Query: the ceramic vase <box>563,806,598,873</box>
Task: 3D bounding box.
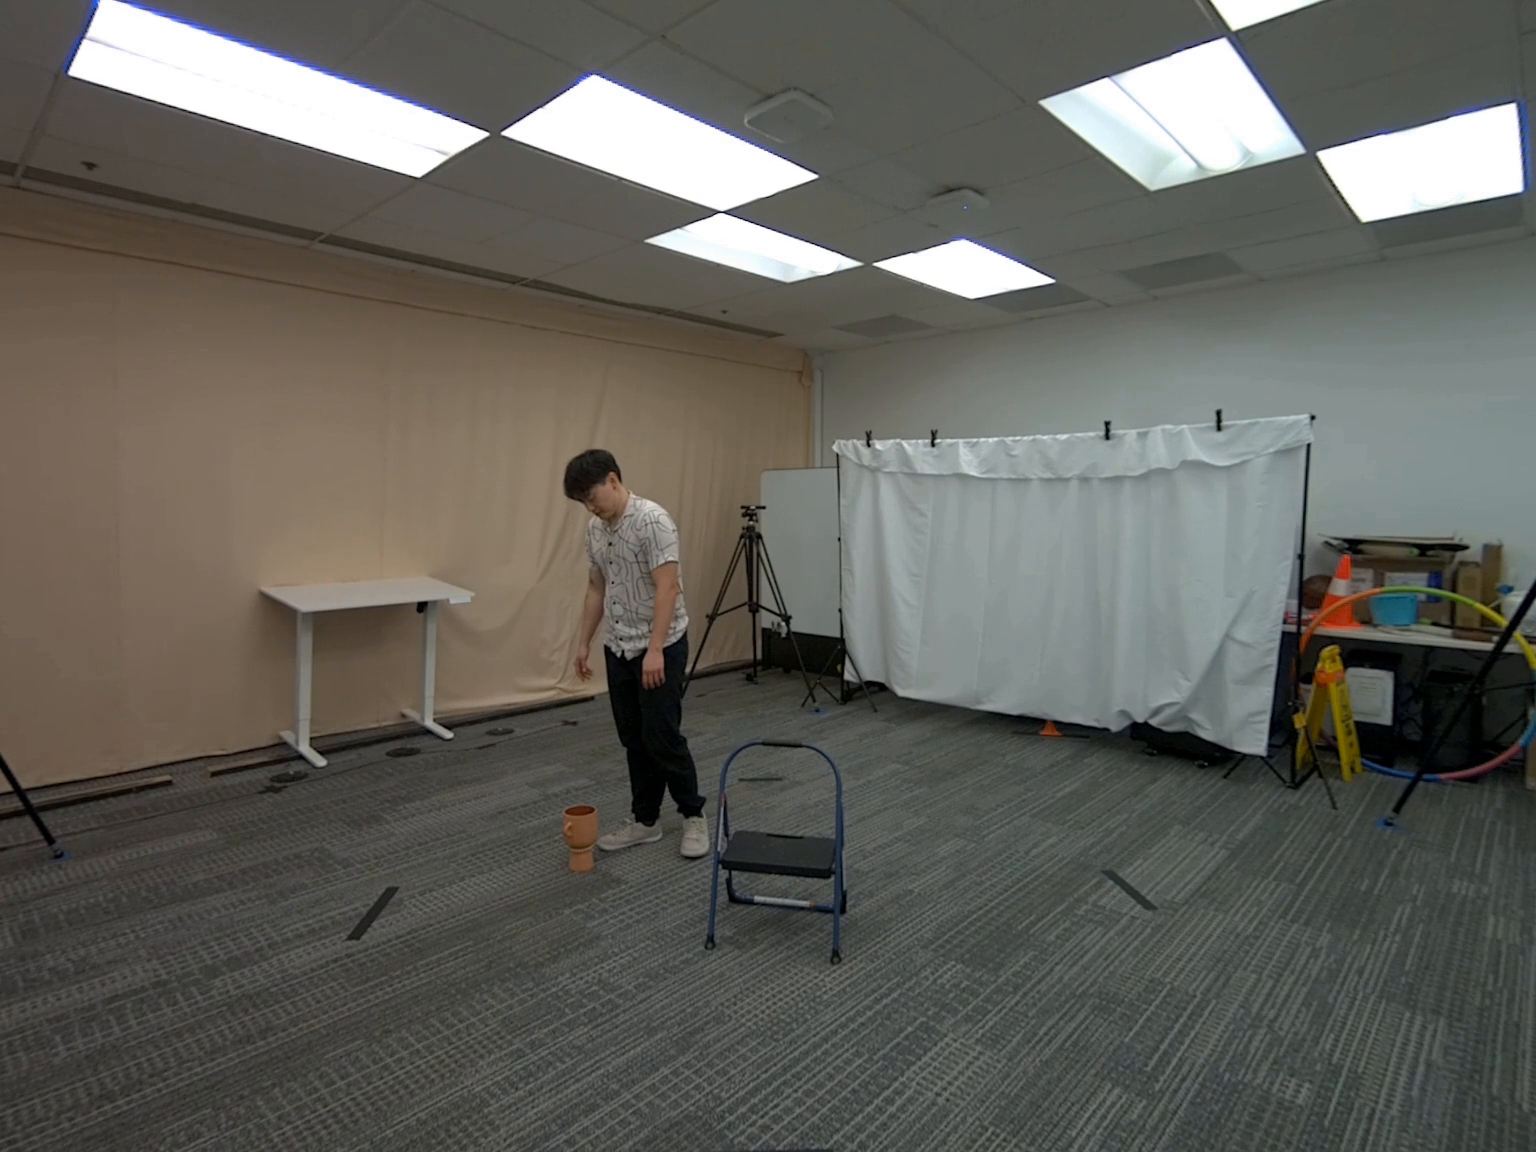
[{"bbox_3d":[-0.724,1.015,3.256,0.155,0.219,0.138,-1,3,-26],"label":"ceramic vase"}]
